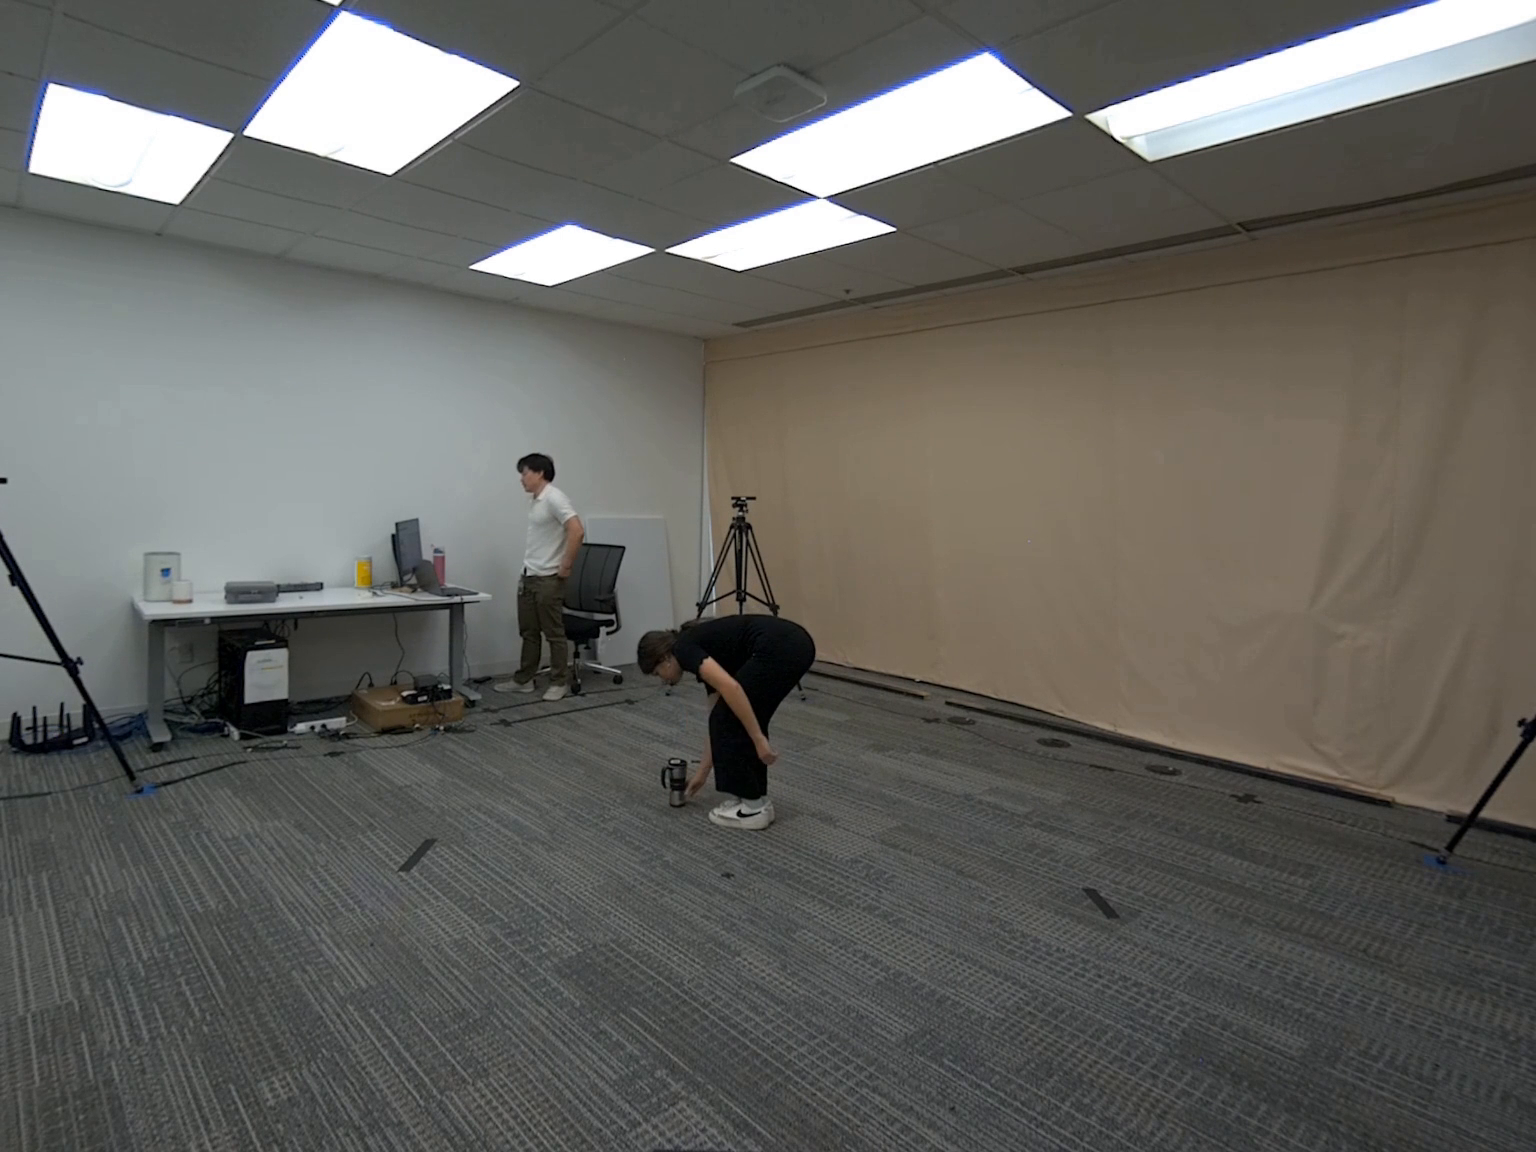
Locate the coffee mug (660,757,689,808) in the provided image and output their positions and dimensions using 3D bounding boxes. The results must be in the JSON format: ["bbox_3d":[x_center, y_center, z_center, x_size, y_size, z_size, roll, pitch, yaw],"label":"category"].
[{"bbox_3d":[-0.437,0.934,3.806,0.120,0.202,0.089,3,3,-14],"label":"coffee mug"}]
